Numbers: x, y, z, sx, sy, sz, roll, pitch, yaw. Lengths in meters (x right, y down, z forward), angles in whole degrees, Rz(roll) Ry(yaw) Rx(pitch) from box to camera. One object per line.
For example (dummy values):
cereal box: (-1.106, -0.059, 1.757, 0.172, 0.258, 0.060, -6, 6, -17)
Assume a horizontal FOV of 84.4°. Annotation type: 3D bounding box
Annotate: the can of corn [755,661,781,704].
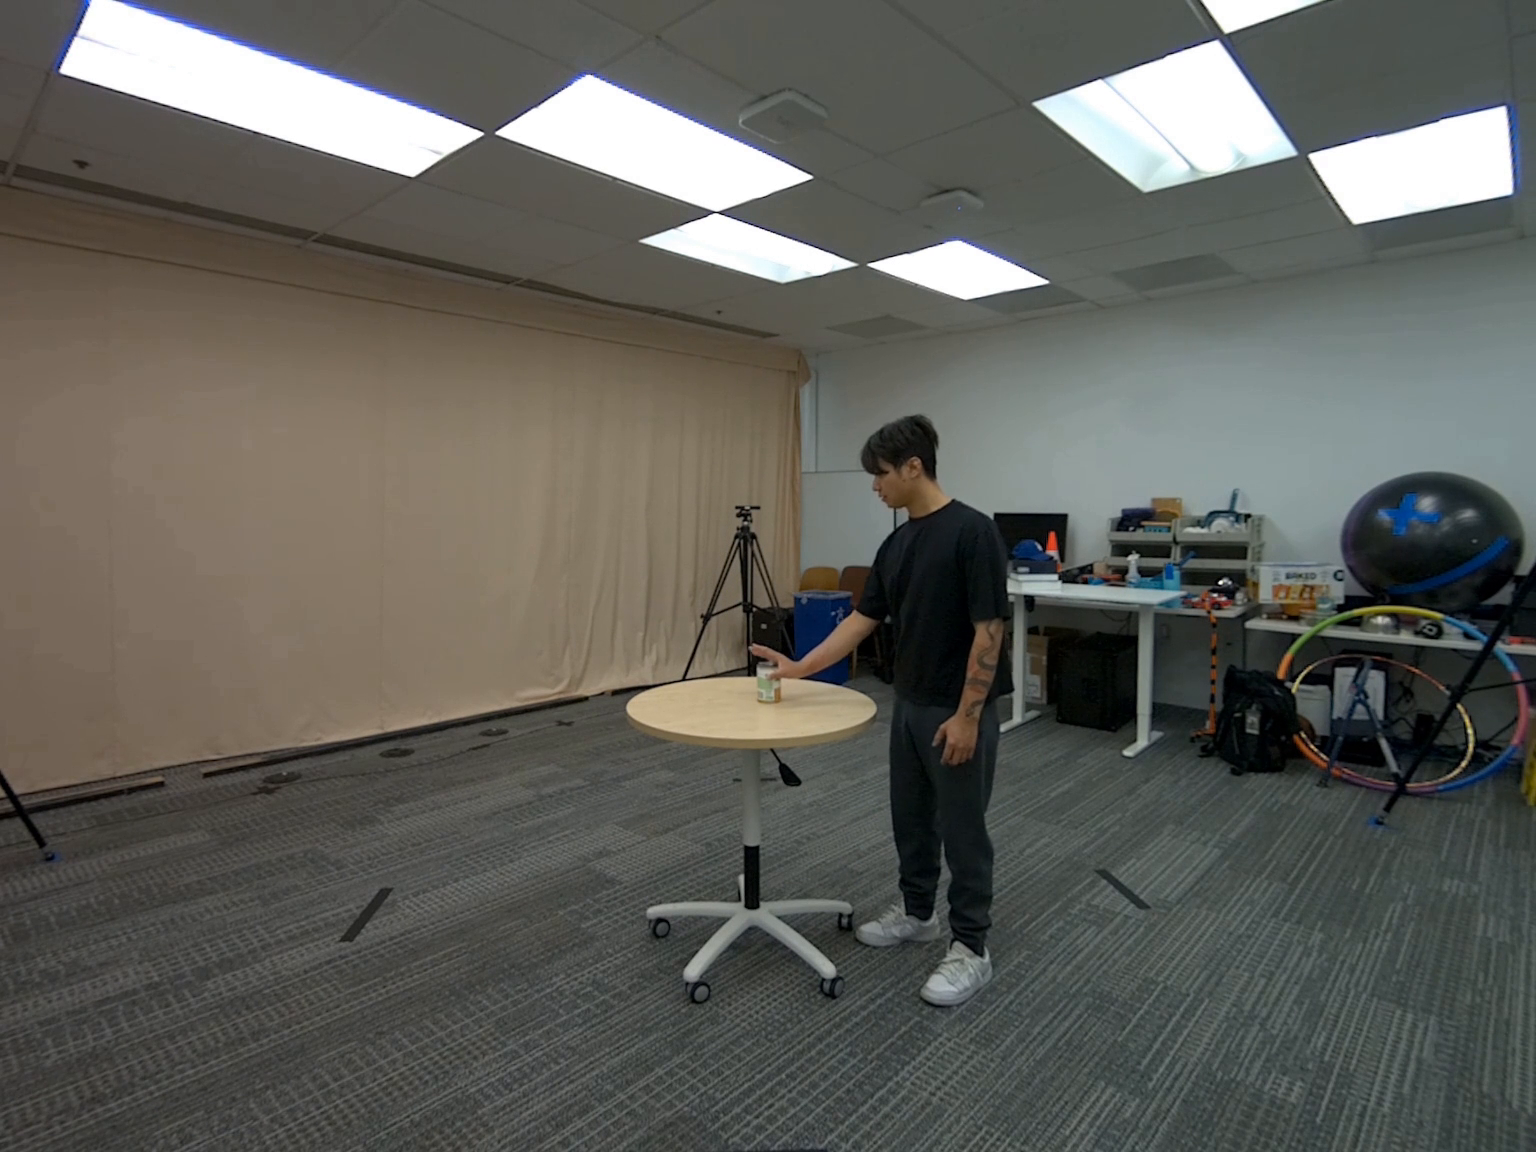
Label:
can of corn: (0.006, 0.337, 2.626, 0.074, 0.111, 0.074, 1, 4, -2)
